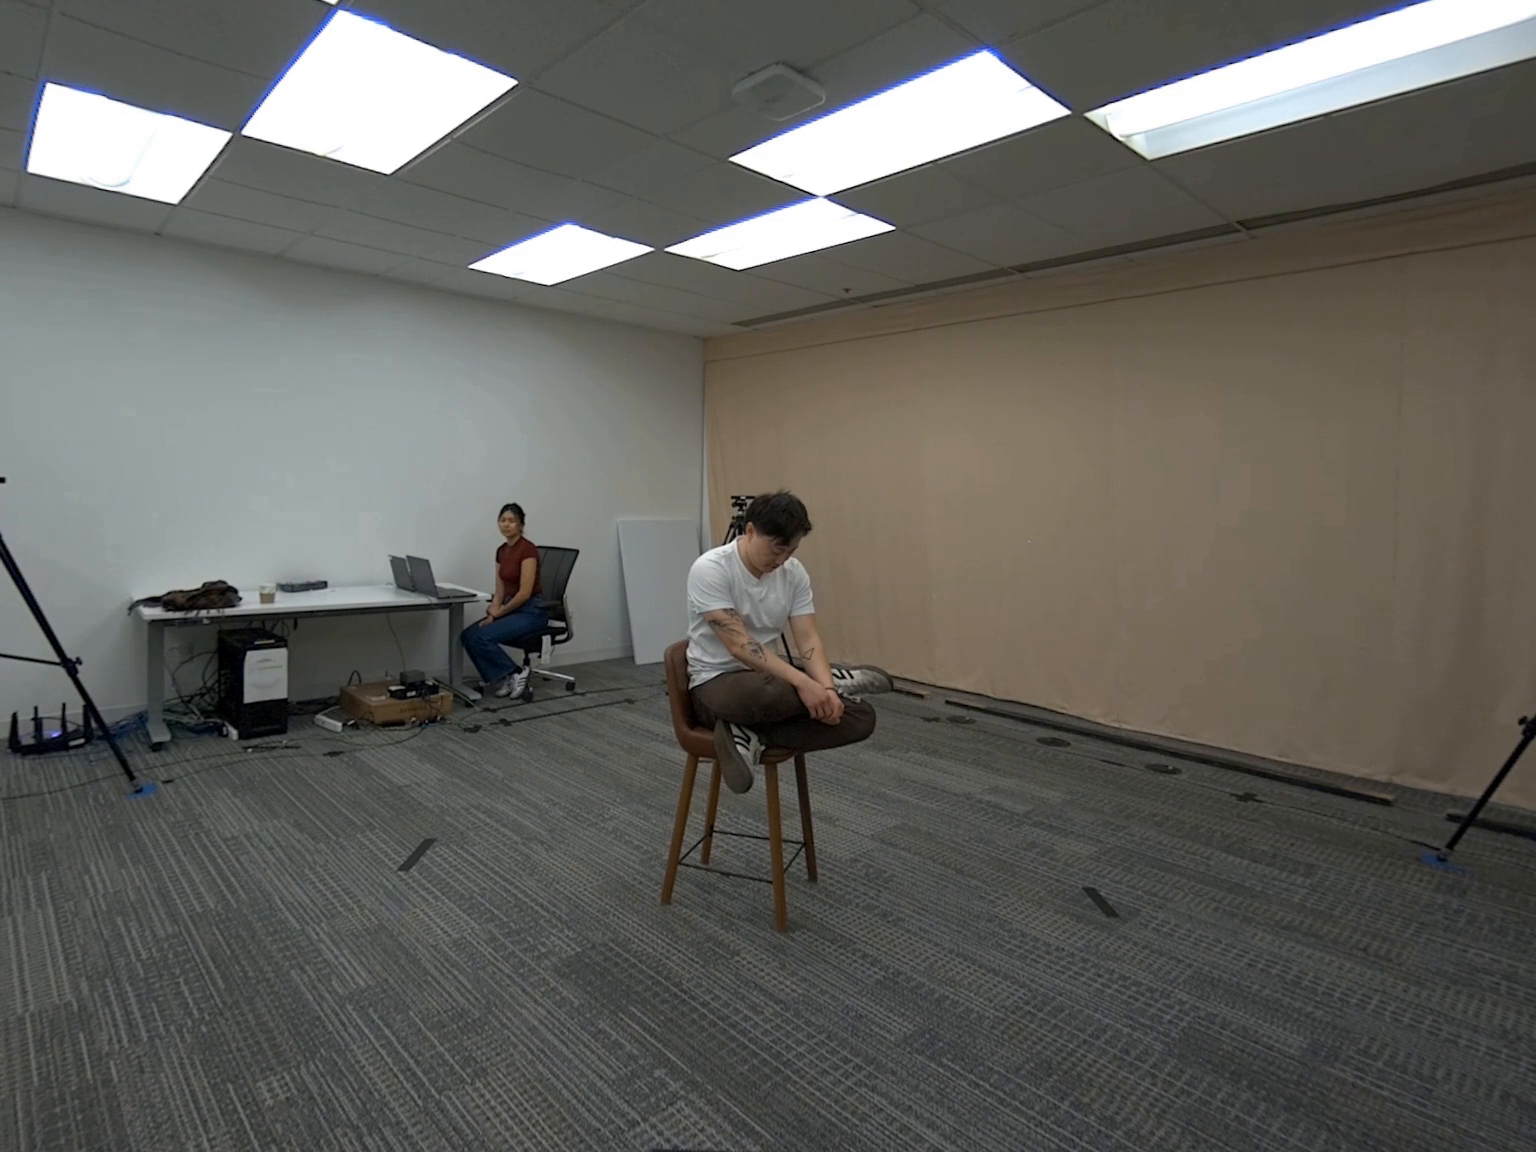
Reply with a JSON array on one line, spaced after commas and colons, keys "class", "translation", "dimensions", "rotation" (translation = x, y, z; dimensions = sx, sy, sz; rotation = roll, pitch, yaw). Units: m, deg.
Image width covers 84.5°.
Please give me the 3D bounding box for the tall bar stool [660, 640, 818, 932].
[{"class": "tall bar stool", "translation": [-0.105, 0.688, 2.944], "dimensions": [0.475, 0.888, 0.450], "rotation": [0, 3, 21]}]
